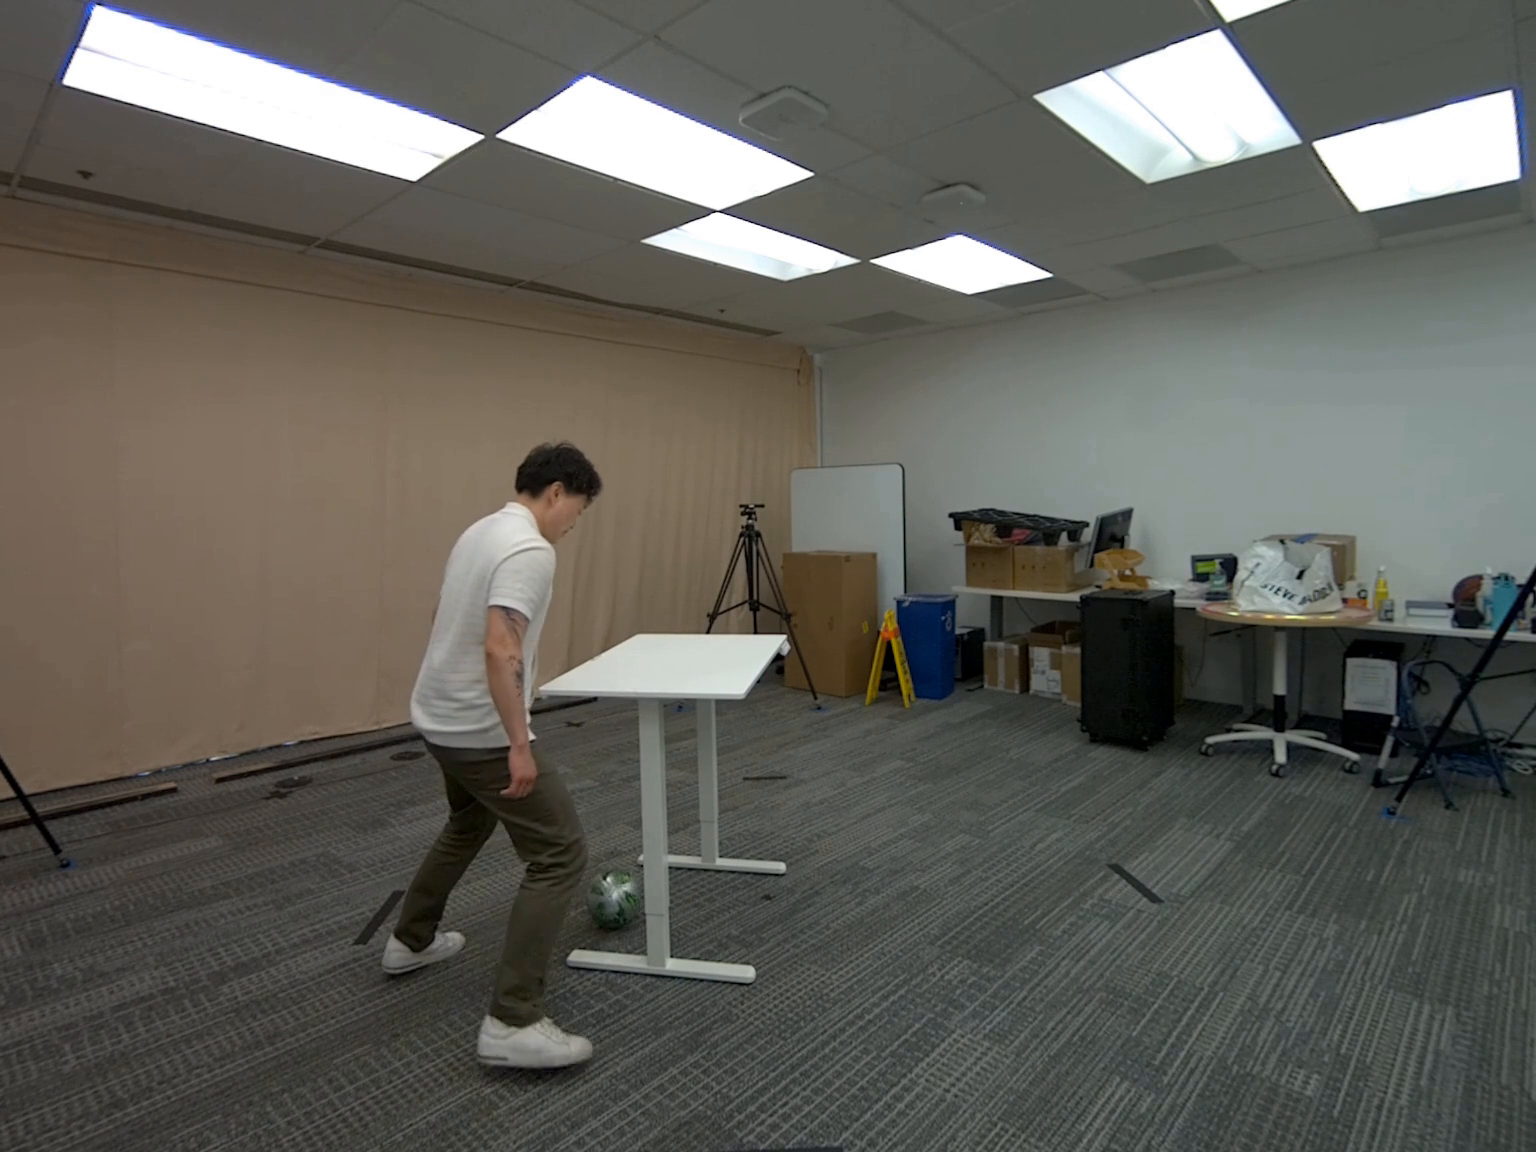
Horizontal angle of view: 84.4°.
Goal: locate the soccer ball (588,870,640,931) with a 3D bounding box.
[{"bbox_3d":[-0.514,1.076,2.804,0.187,0.187,0.188,-1,4,-2],"label":"soccer ball"}]
